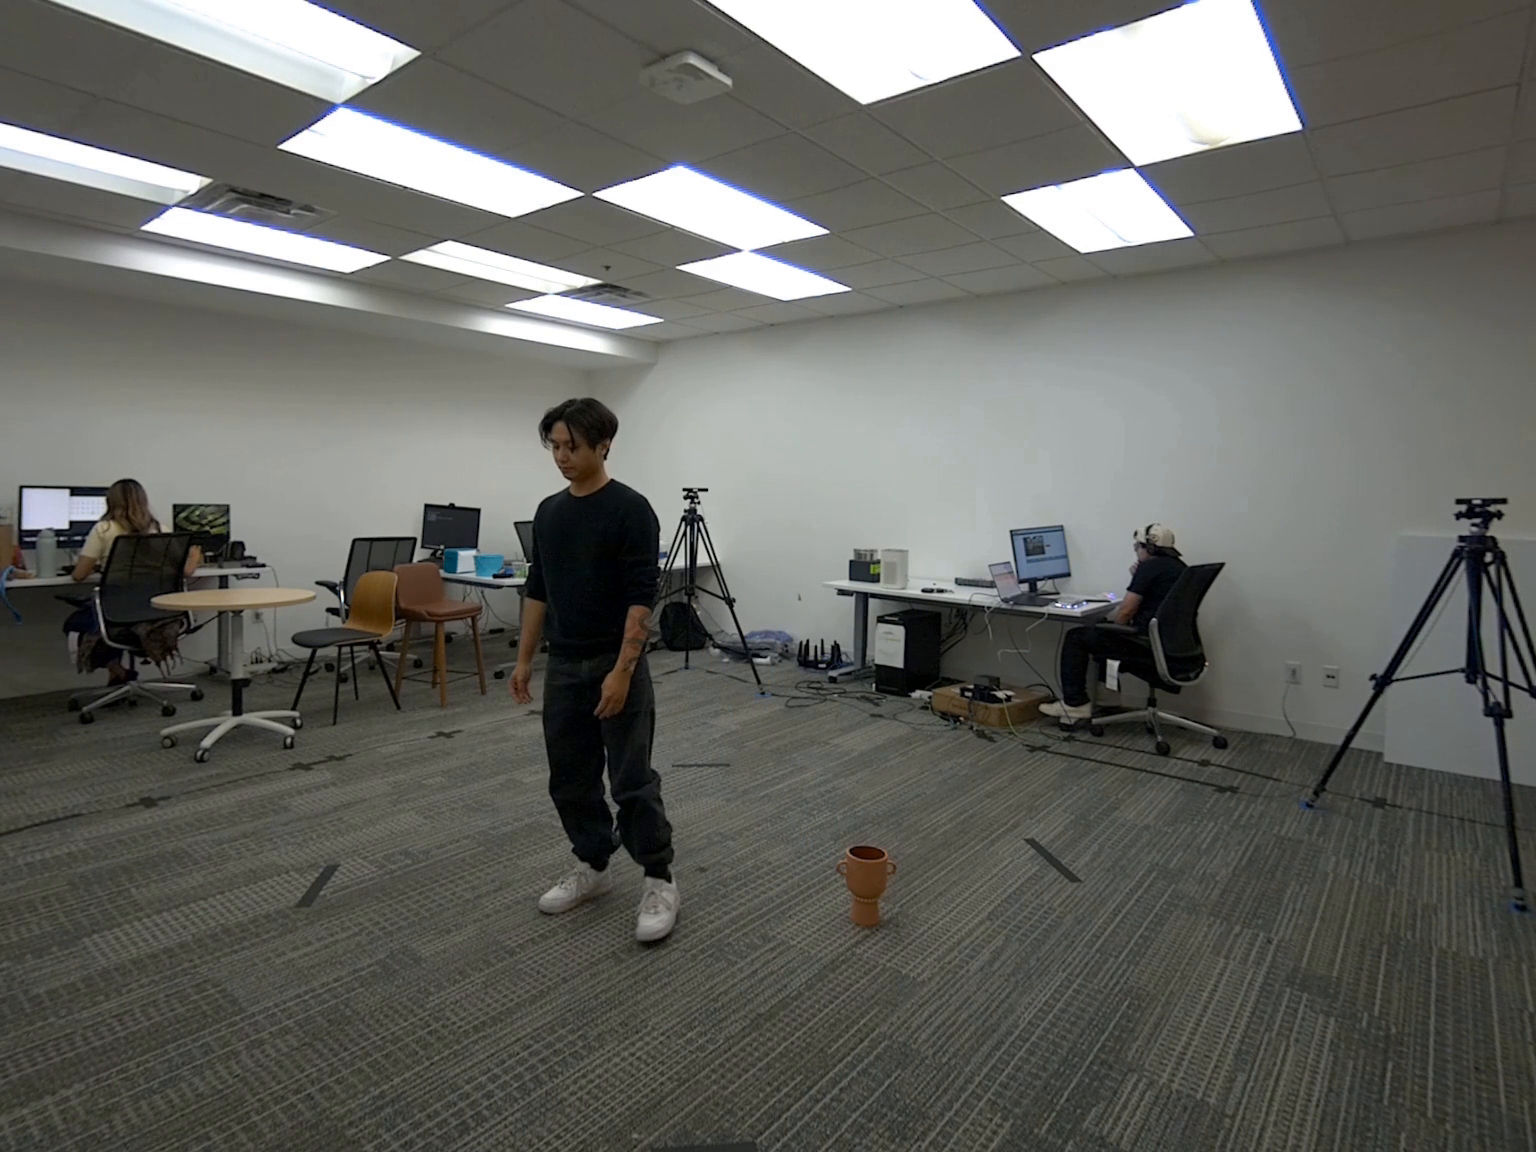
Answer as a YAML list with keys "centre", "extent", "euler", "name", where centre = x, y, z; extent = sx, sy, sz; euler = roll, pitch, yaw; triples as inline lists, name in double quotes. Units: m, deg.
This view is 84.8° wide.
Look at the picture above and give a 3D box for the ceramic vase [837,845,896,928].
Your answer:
- centre: [0.313, 1.007, 2.761]
  extent: [0.164, 0.219, 0.131]
  euler: [5, 5, 35]
  name: "ceramic vase"
